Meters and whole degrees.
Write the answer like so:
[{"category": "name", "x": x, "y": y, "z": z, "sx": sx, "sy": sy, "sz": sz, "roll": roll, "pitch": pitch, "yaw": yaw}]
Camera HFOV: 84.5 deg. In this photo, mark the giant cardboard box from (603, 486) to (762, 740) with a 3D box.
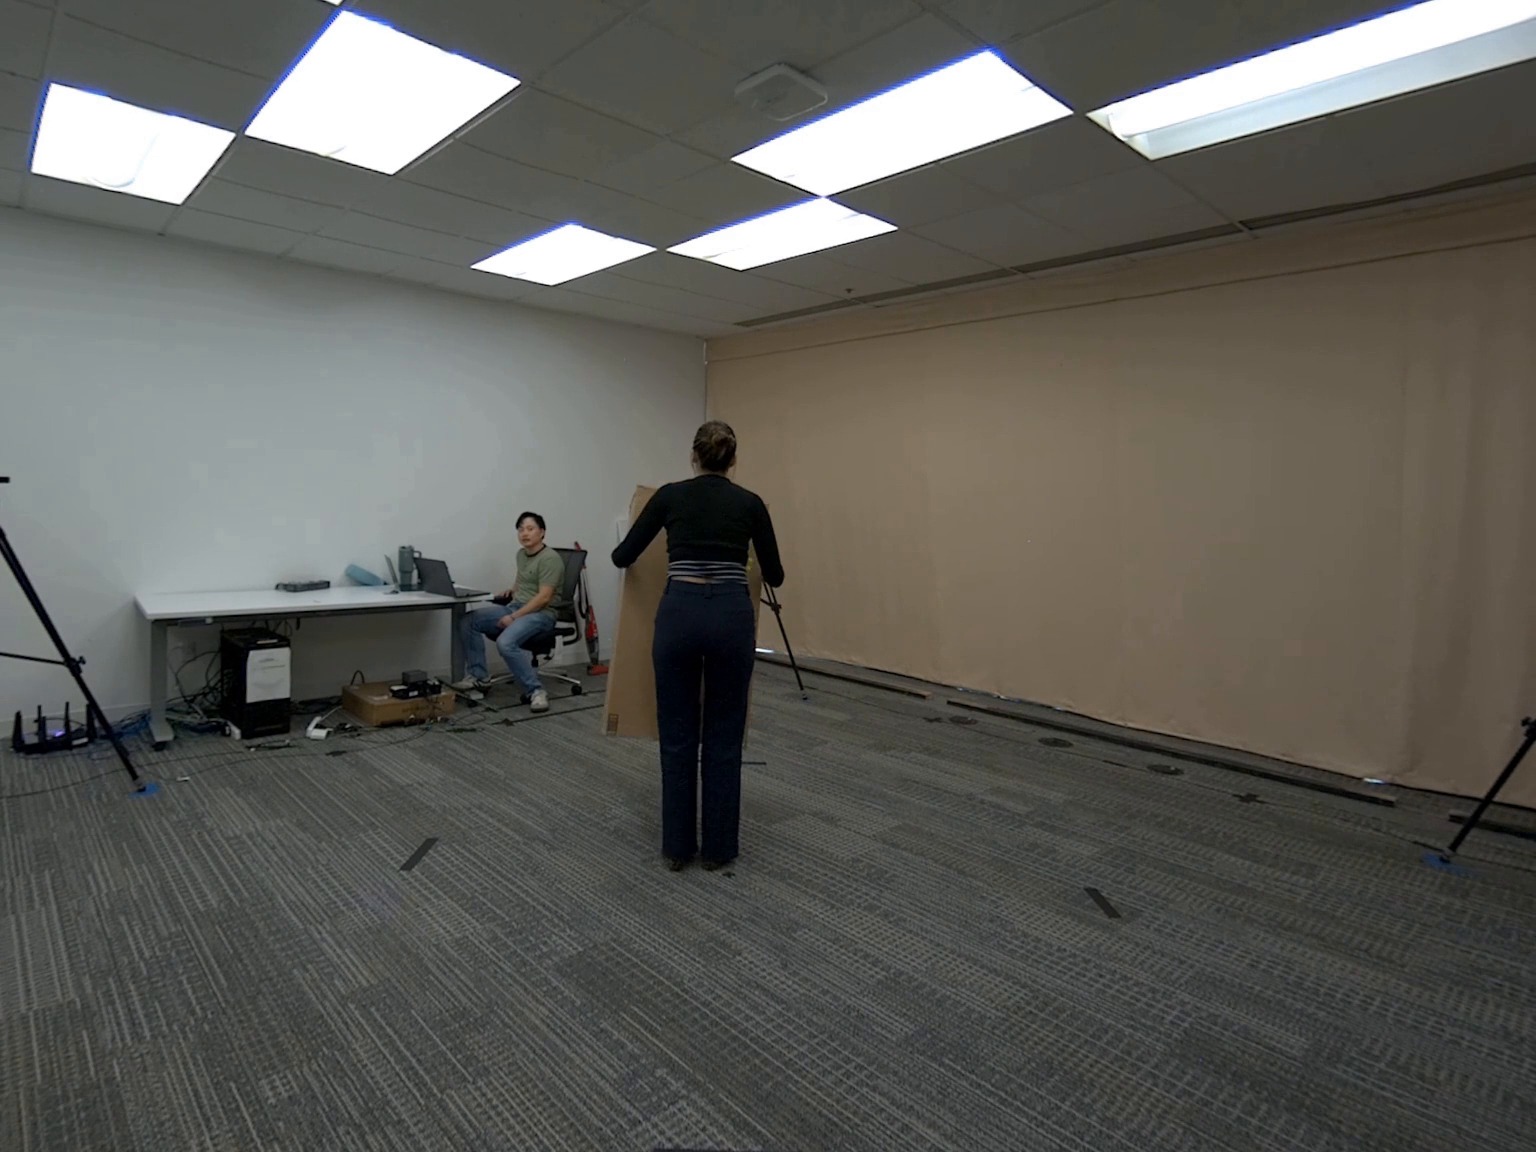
[{"category": "giant cardboard box", "x": -0.364, "y": 0.191, "z": 3.636, "sx": 0.572, "sy": 1.033, "sz": 0.427, "roll": 8, "pitch": -11, "yaw": -11}]
